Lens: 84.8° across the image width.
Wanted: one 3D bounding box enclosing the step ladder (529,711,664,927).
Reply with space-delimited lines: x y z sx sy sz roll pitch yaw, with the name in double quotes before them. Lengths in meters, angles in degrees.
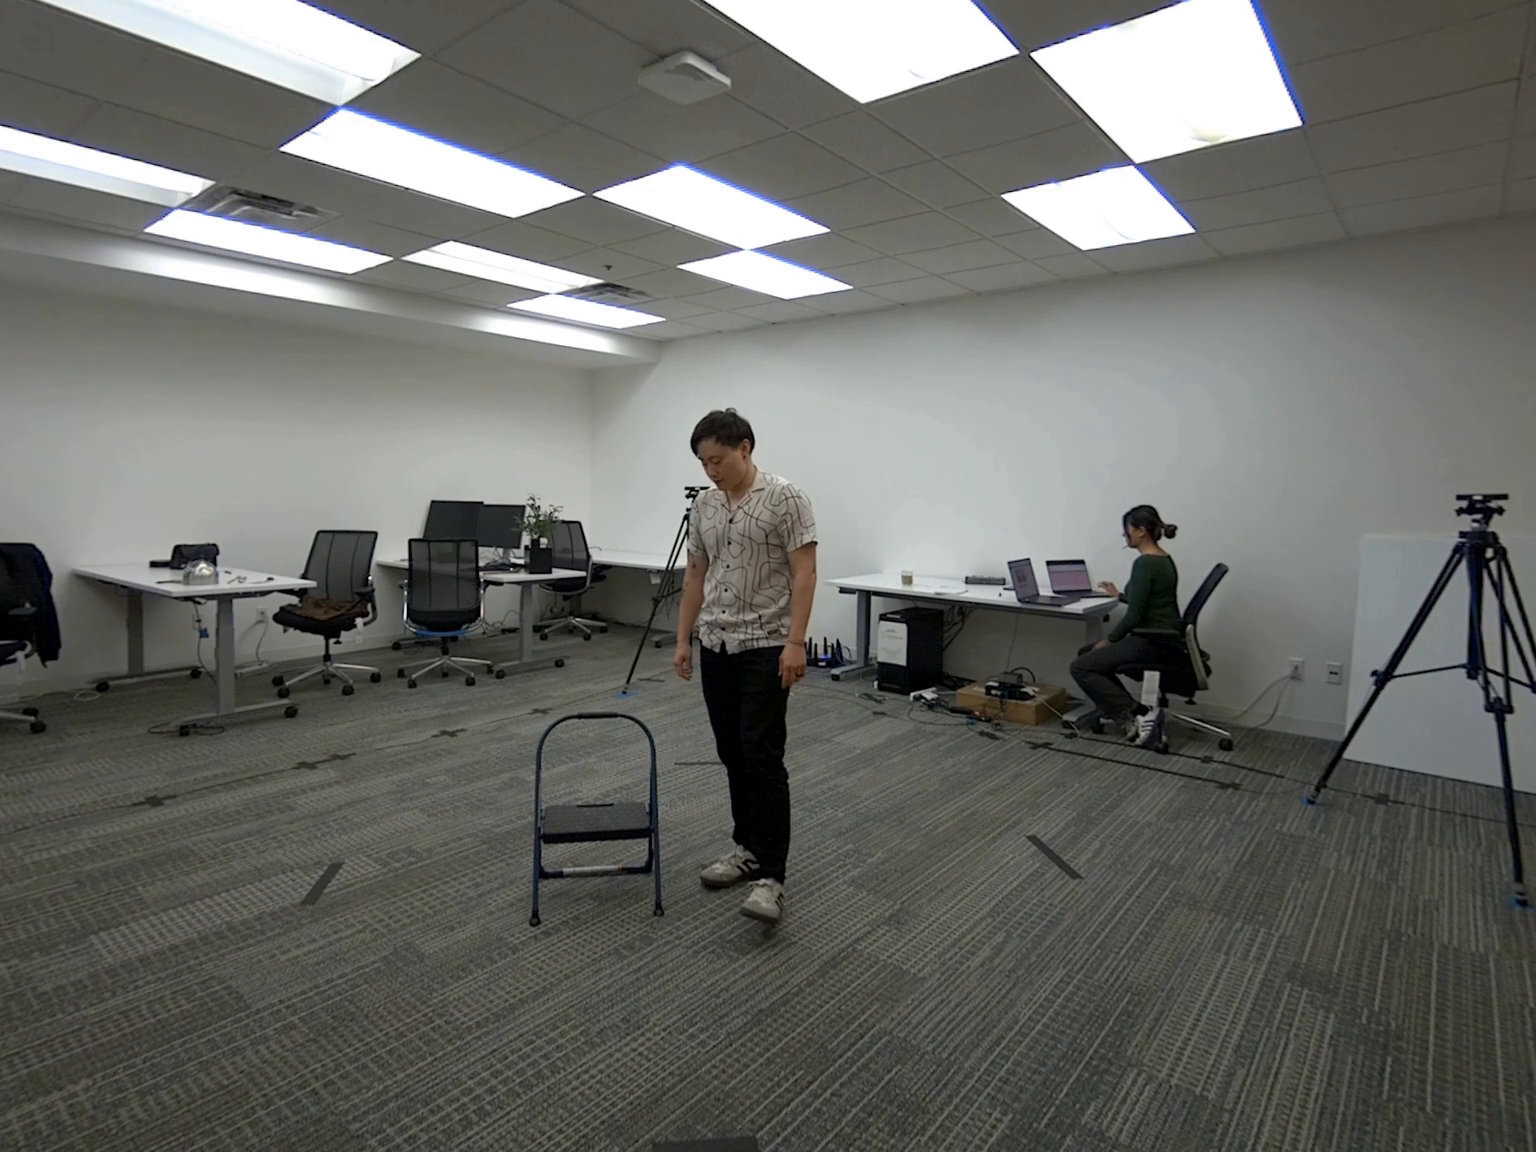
"step ladder" -0.592 0.779 2.879 0.426 0.604 0.355 -1 4 -12
